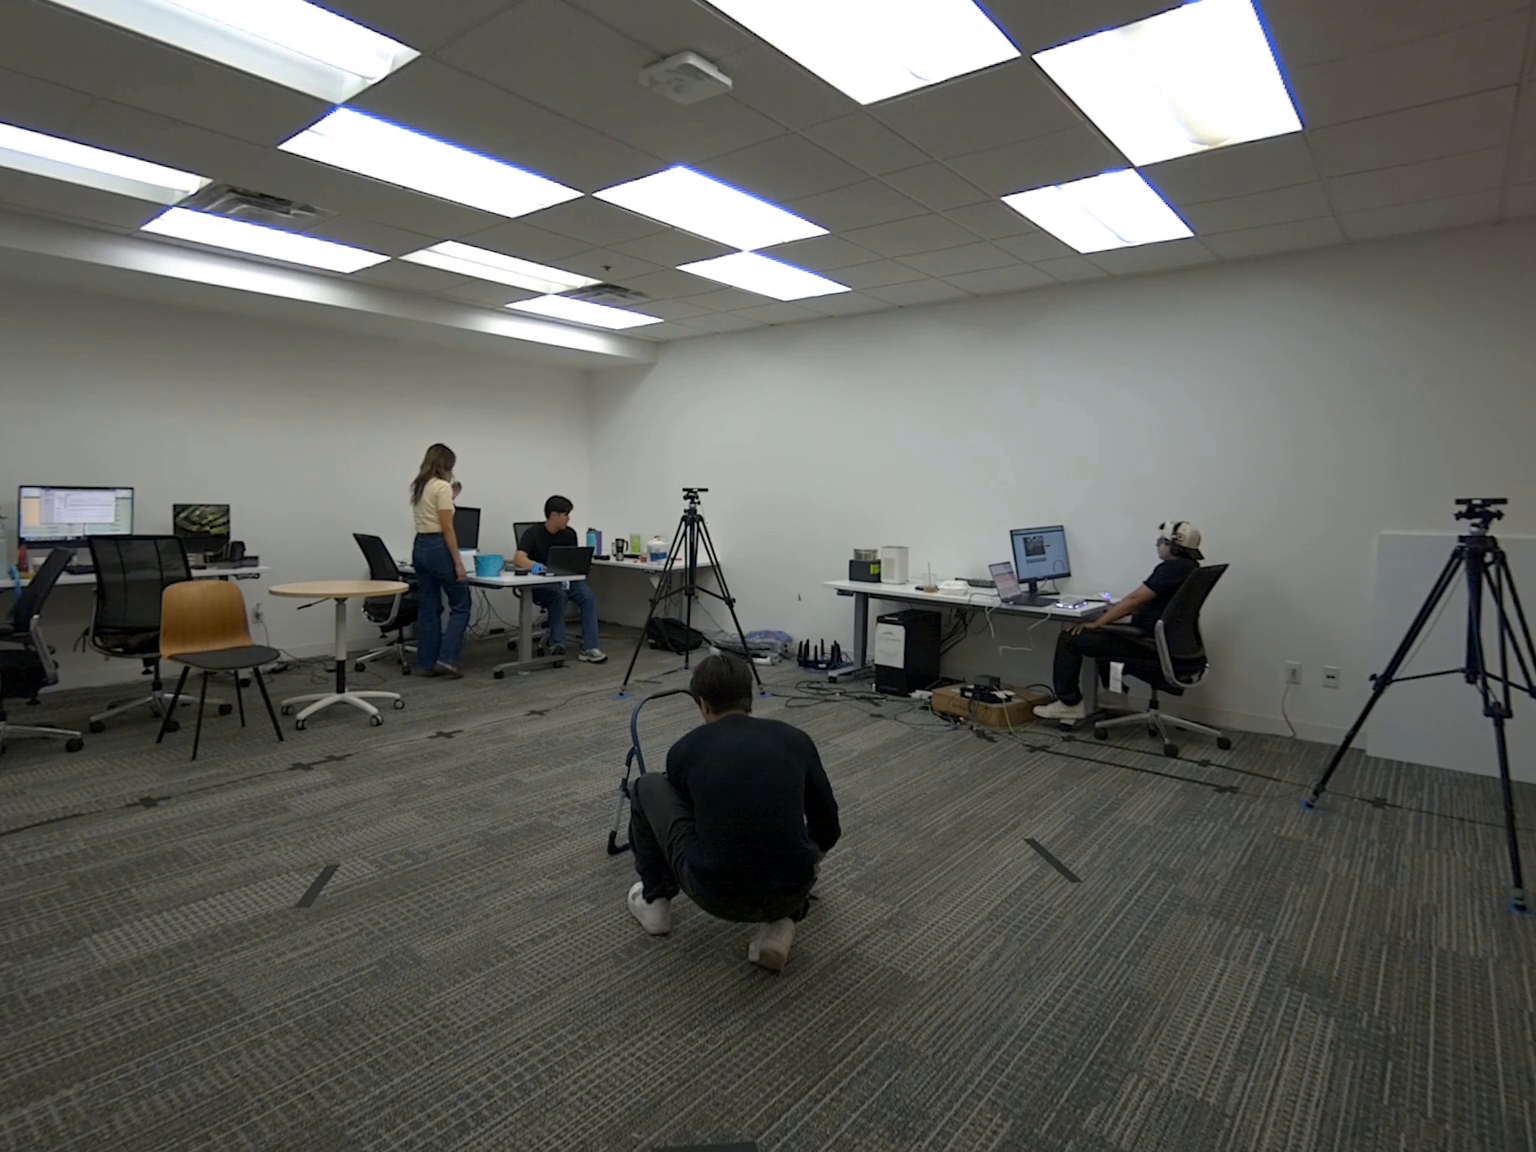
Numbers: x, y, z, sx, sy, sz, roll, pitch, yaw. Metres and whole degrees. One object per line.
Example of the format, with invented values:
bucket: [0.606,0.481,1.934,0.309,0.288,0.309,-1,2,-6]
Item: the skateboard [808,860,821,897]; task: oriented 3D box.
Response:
skateboard: [-0.167,1.005,3.097,0.812,0.110,0.188,6,7,37]
